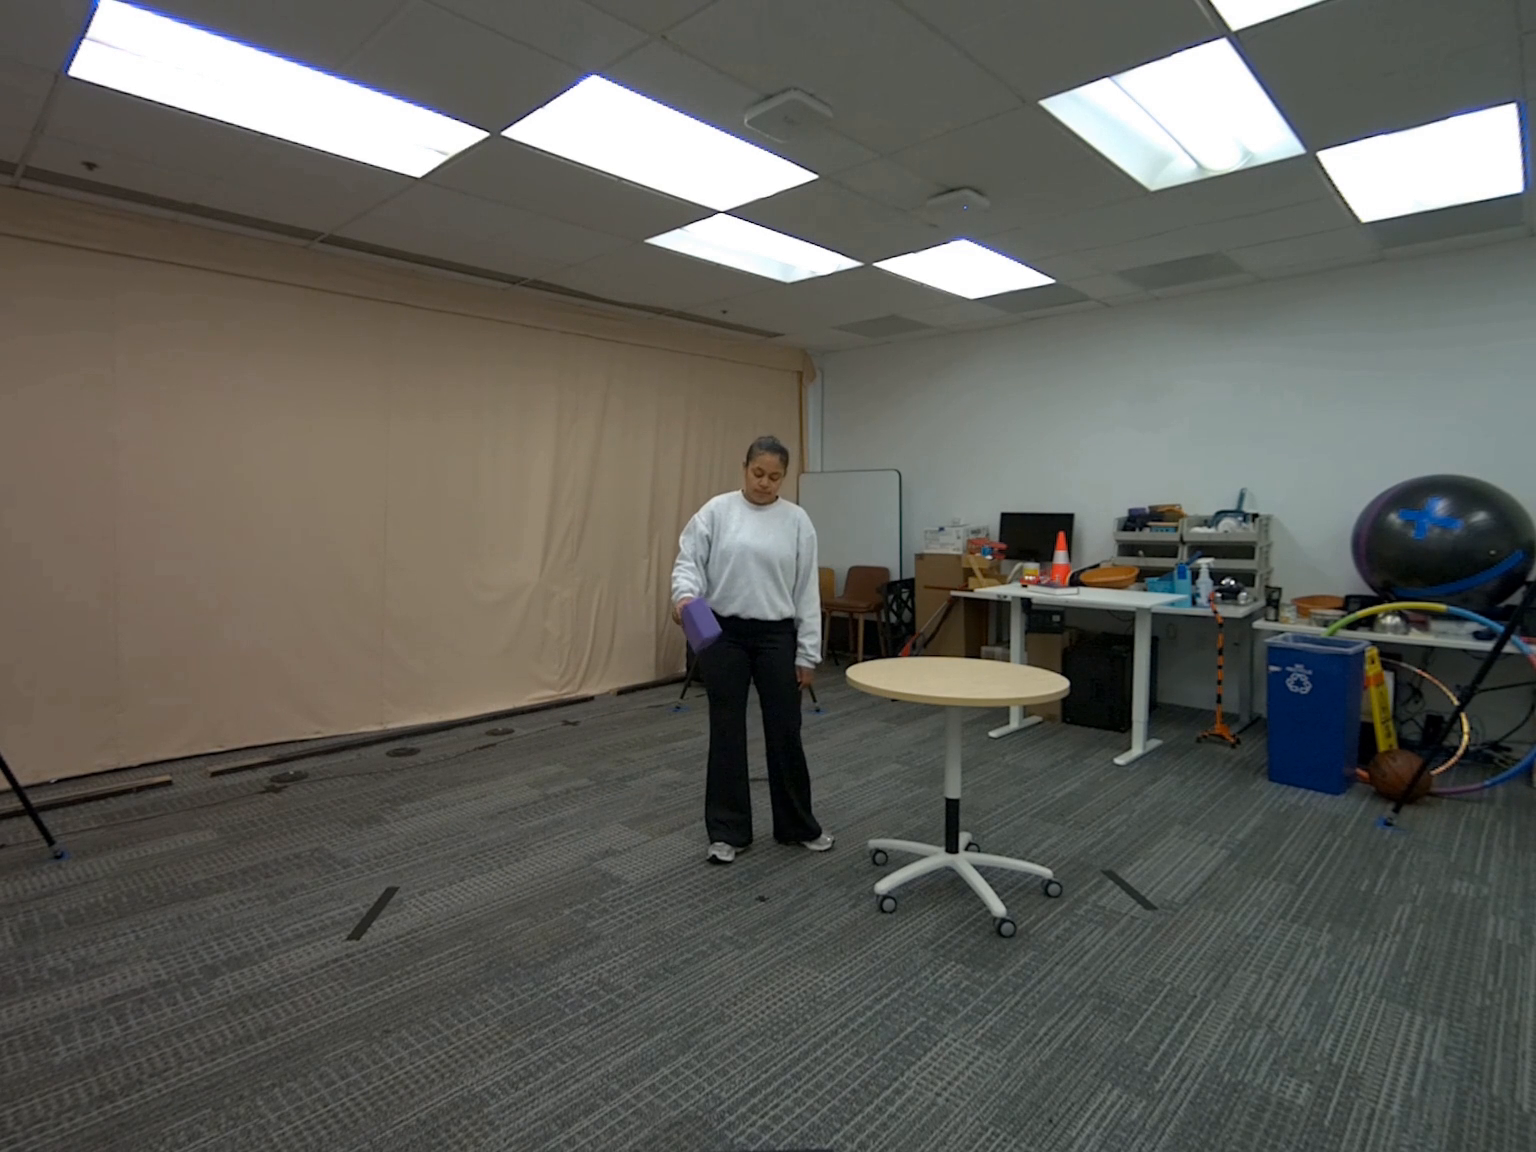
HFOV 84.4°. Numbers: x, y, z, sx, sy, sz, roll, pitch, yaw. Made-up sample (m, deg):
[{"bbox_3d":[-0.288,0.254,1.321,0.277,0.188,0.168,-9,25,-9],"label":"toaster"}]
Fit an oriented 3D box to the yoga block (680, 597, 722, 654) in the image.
[{"bbox_3d":[-0.239,0.179,2.946,0.075,0.151,0.229,-22,-12,-16],"label":"yoga block"}]
